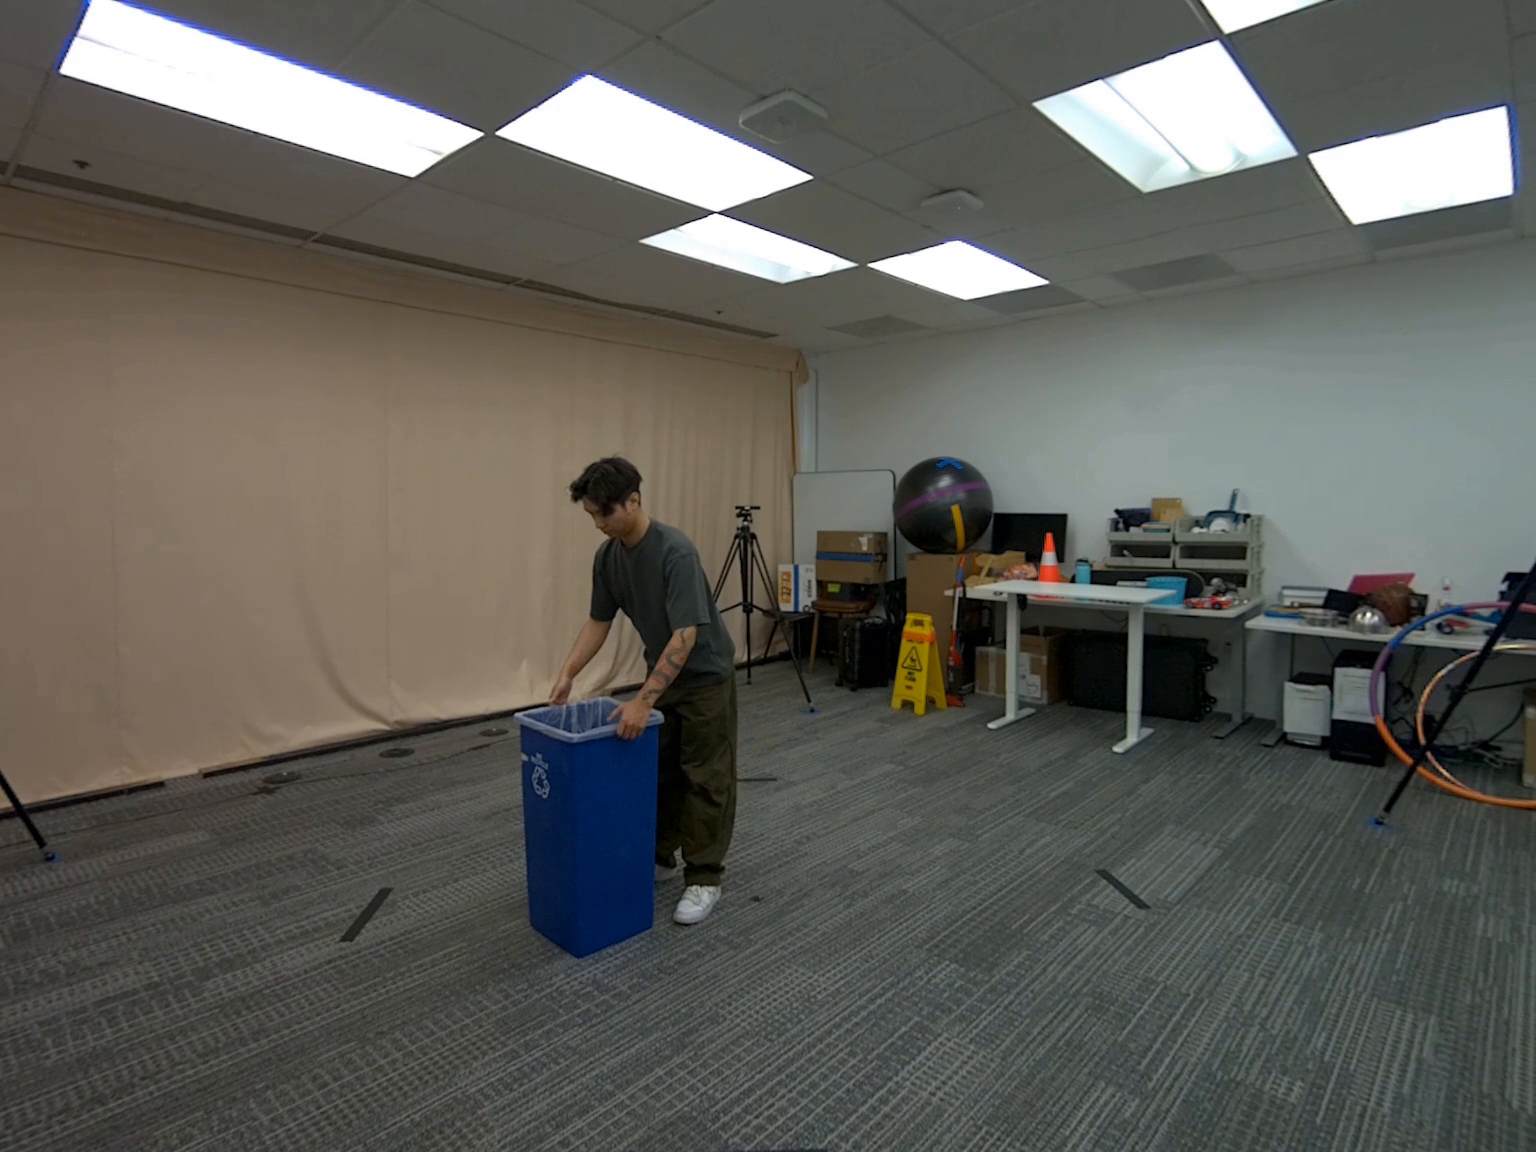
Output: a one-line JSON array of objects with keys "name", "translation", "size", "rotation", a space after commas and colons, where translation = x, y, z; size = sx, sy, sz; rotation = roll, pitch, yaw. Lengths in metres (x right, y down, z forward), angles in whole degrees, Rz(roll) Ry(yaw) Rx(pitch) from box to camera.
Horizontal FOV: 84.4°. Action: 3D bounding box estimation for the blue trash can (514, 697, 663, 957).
[{"name": "blue trash can", "translation": [-0.581, 0.806, 2.774], "size": [0.366, 0.712, 0.386], "rotation": [-4, 5, -45]}]
